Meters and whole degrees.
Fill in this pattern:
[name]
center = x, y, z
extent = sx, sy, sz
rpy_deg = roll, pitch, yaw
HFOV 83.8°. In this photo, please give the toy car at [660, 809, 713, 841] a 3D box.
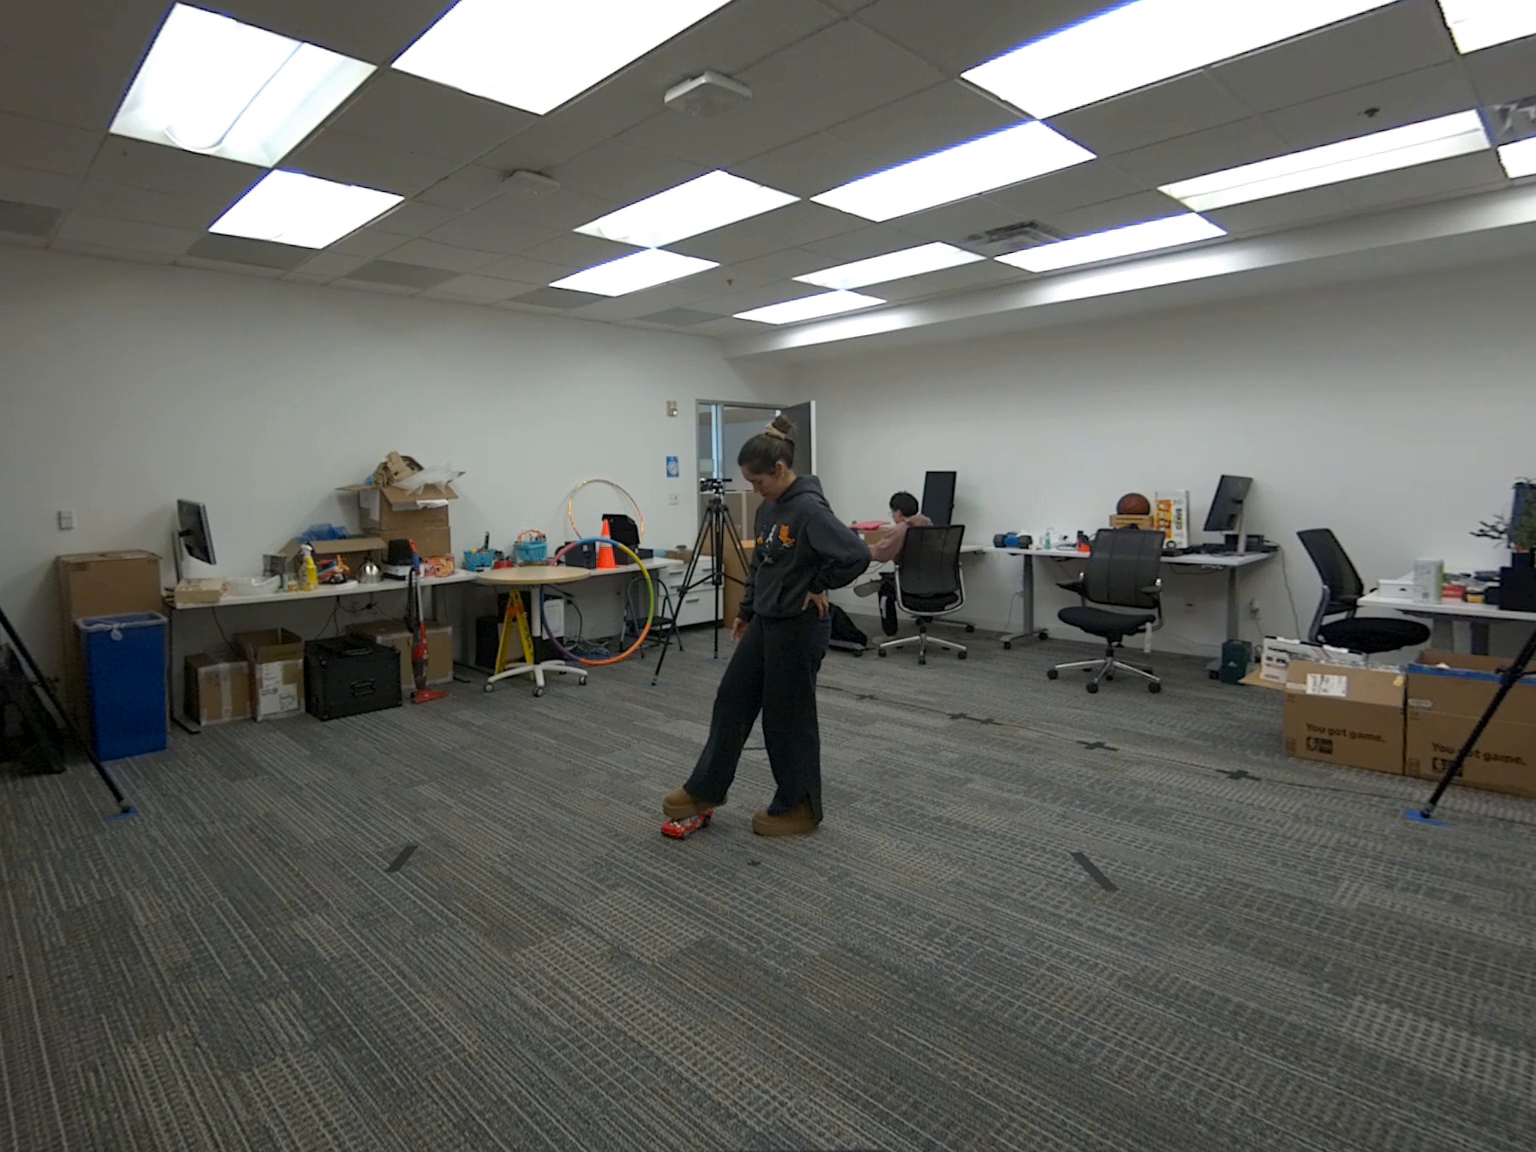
[toy car]
center = -0.313, 0.983, 3.429
extent = 0.134, 0.082, 0.251
rpy_deg = 2, 17, 31
